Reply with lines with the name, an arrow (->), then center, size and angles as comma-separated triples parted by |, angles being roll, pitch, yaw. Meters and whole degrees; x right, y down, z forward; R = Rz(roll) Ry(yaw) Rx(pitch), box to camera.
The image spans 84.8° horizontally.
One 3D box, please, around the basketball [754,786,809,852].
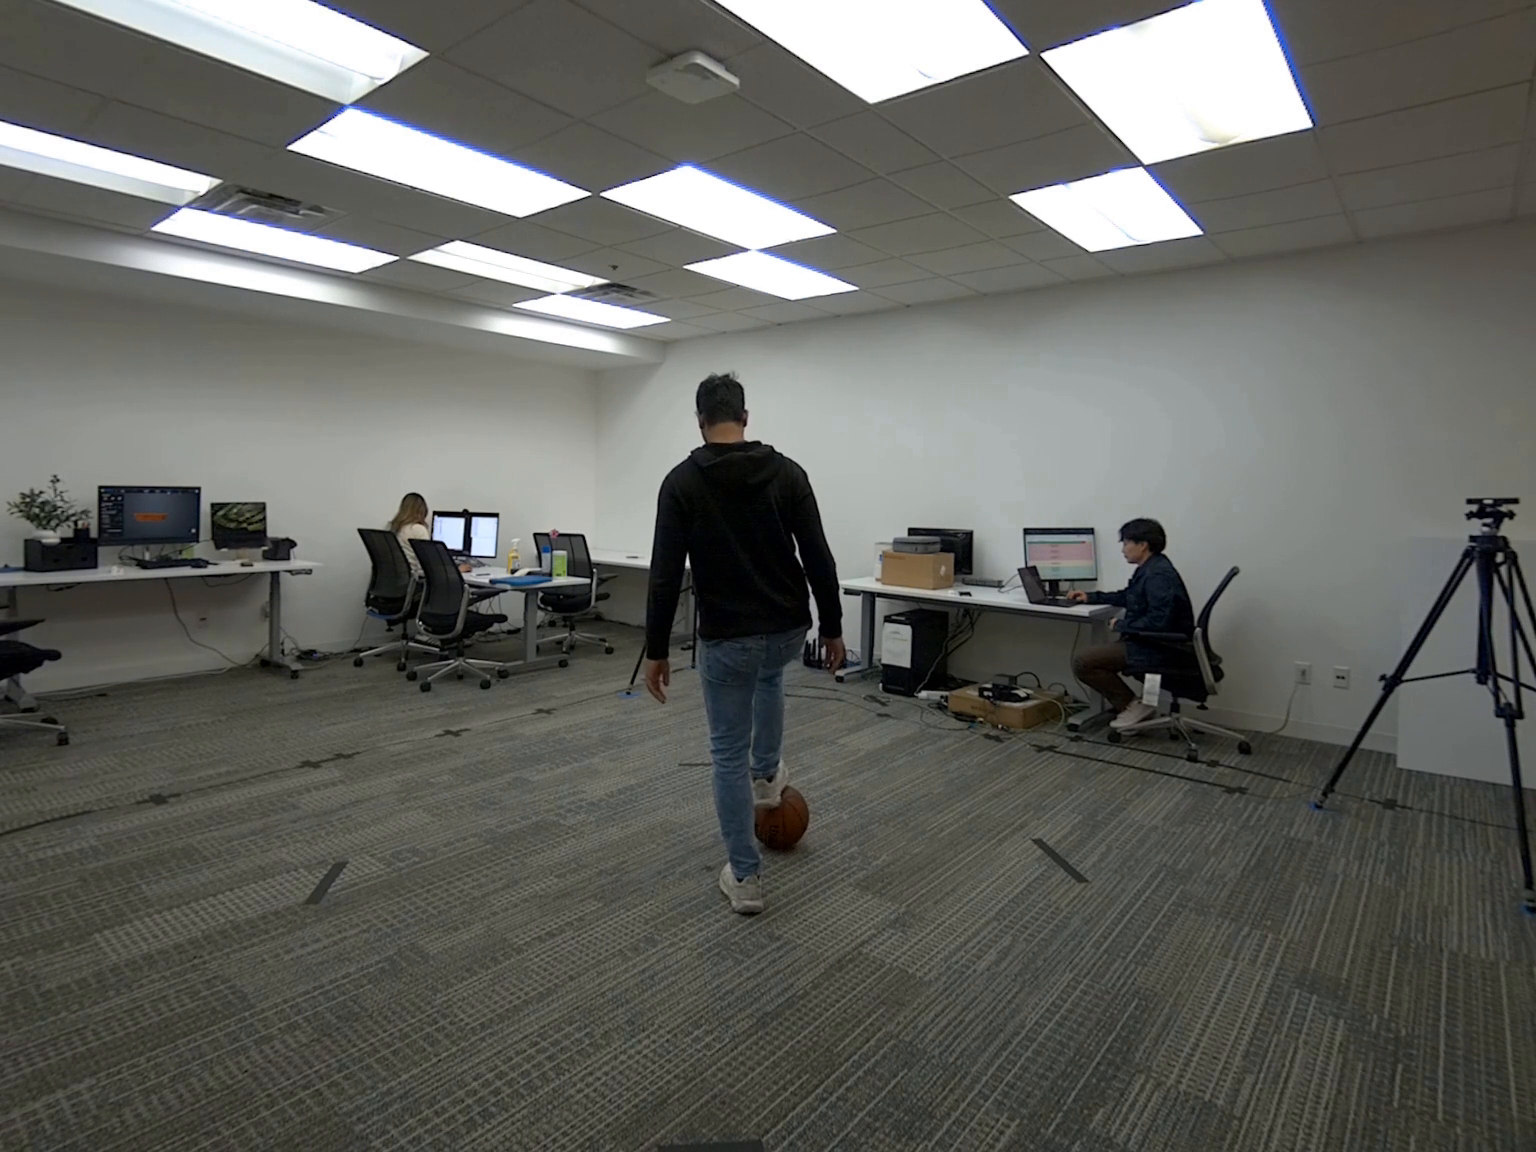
basketball -> 0.025, 0.928, 3.318 | 0.235, 0.235, 0.237 | 1, 4, -2
